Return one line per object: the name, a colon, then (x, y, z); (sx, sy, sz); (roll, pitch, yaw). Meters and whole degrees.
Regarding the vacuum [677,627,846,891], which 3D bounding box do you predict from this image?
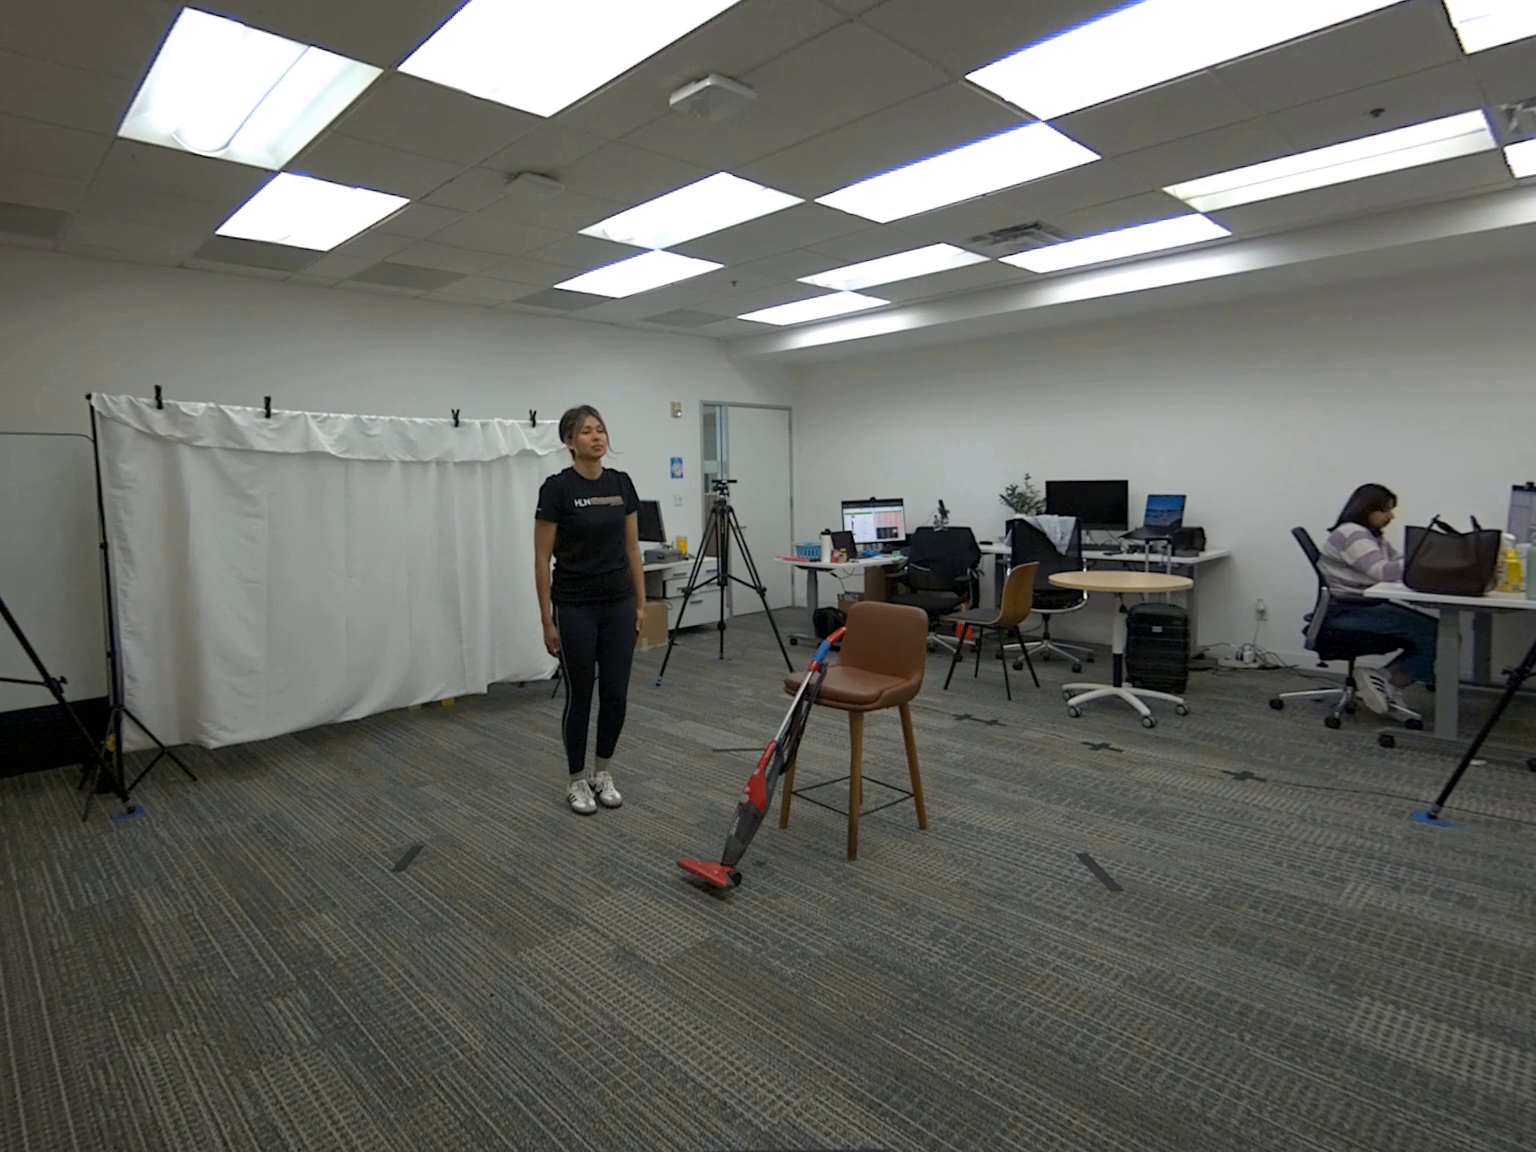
vacuum: (0.049, 0.635, 3.146); (0.261, 1.055, 0.138); (6, -33, 44)
